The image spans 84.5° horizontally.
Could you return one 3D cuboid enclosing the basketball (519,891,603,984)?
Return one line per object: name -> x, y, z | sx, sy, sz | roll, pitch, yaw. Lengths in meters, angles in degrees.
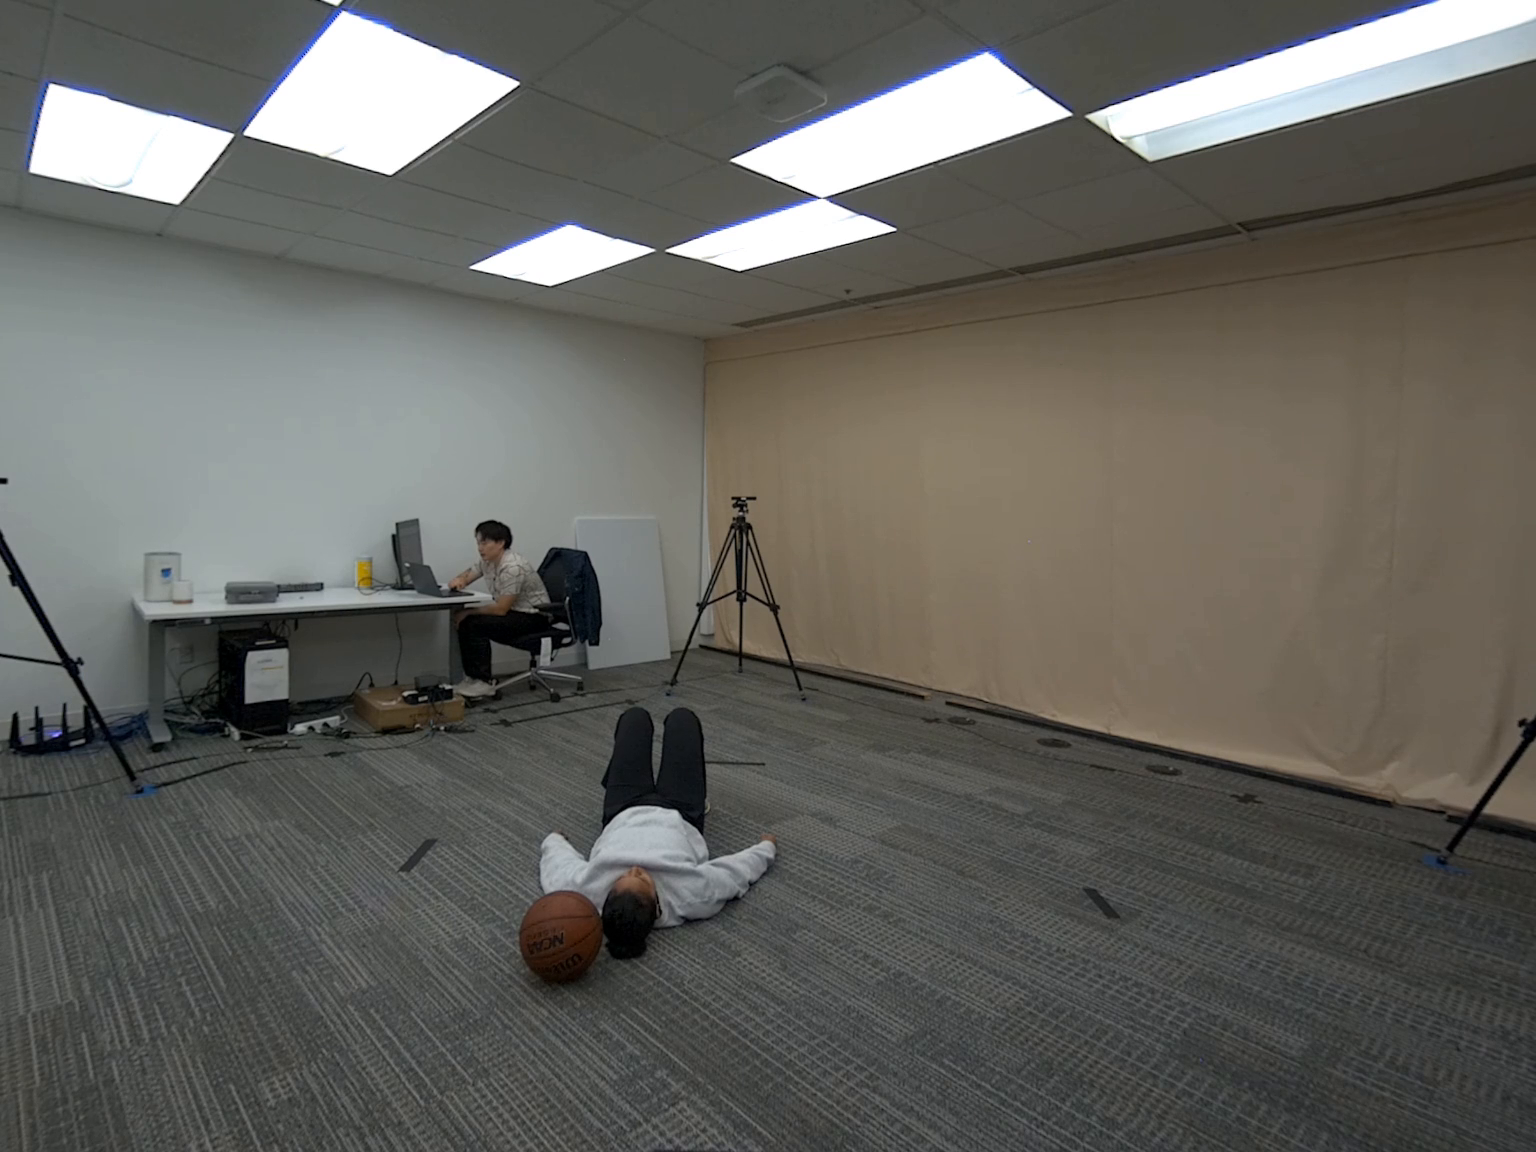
basketball -> -0.605, 1.036, 2.431 | 0.236, 0.235, 0.237 | 1, 4, -1
